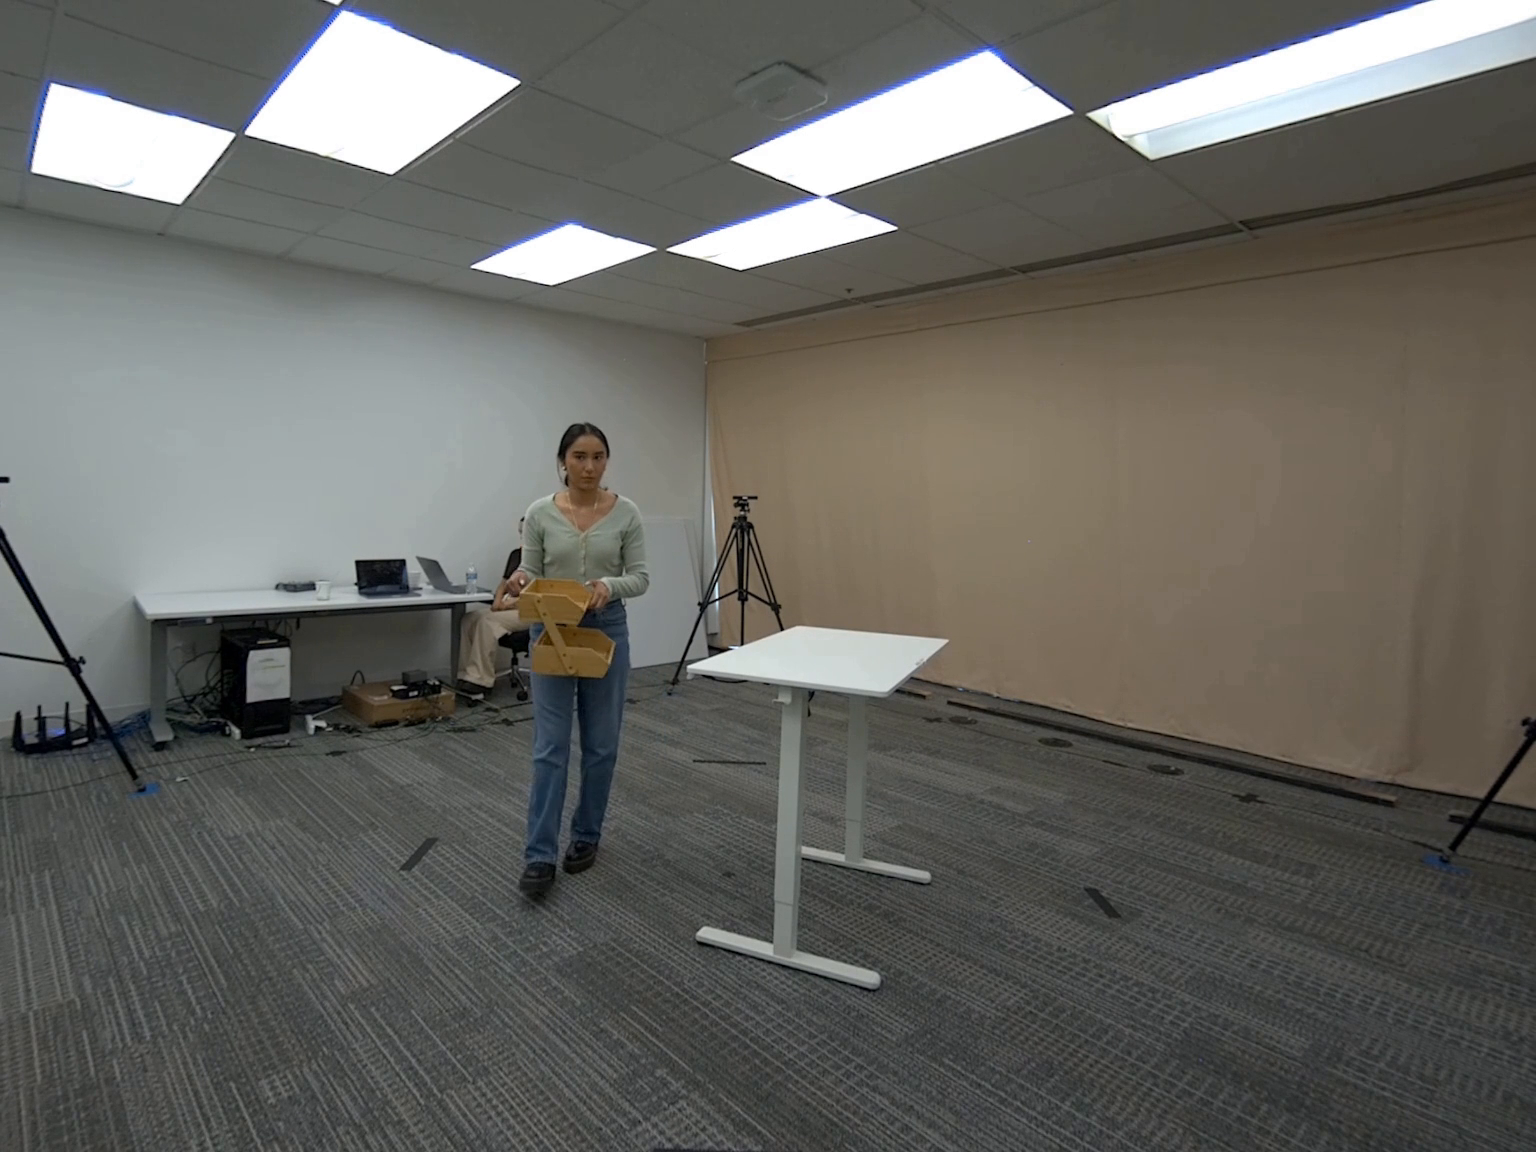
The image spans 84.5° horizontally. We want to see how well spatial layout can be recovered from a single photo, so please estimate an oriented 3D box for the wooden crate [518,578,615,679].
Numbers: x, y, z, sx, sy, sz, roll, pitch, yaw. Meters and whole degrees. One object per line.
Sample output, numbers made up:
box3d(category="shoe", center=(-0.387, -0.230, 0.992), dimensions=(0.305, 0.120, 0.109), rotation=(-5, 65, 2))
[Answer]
box3d(category="wooden crate", center=(-0.657, 0.168, 2.835), dimensions=(0.300, 0.272, 0.327), rotation=(4, 7, -6))
